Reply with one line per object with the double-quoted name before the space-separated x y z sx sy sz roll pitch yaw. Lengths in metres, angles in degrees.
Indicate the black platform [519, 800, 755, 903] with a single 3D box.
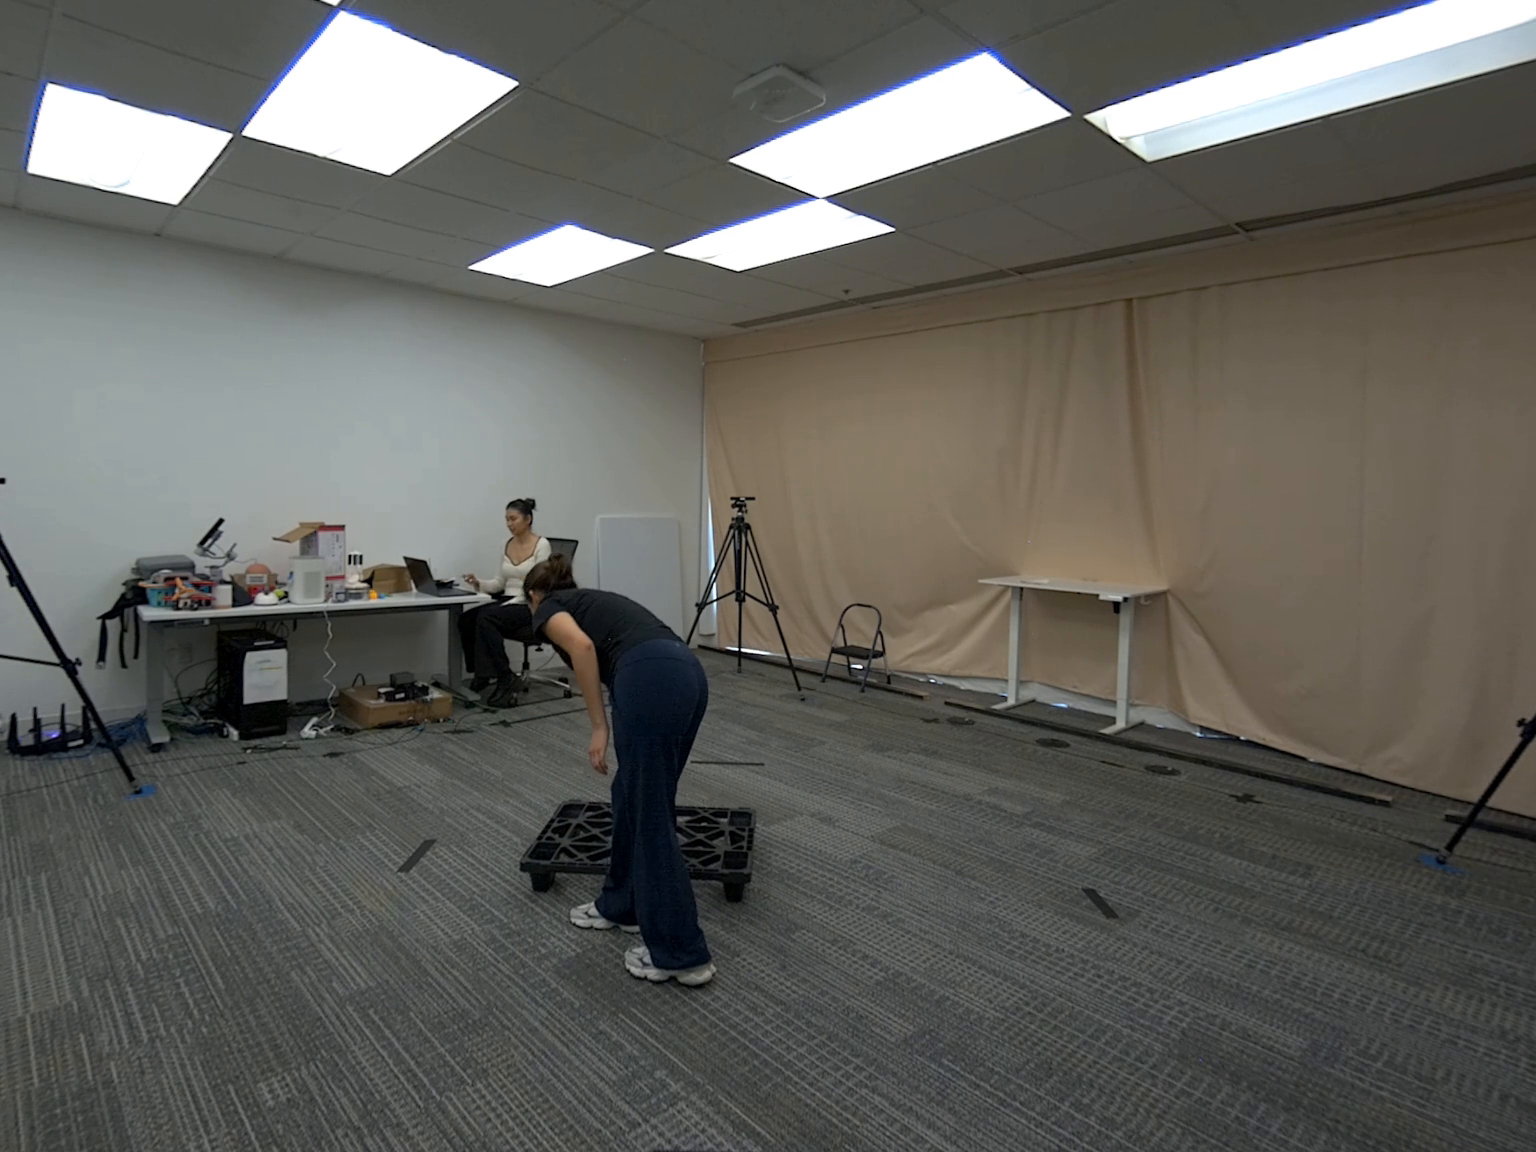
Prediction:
"black platform" -0.456 1.030 3.139 0.808 0.143 0.605 2 5 2
